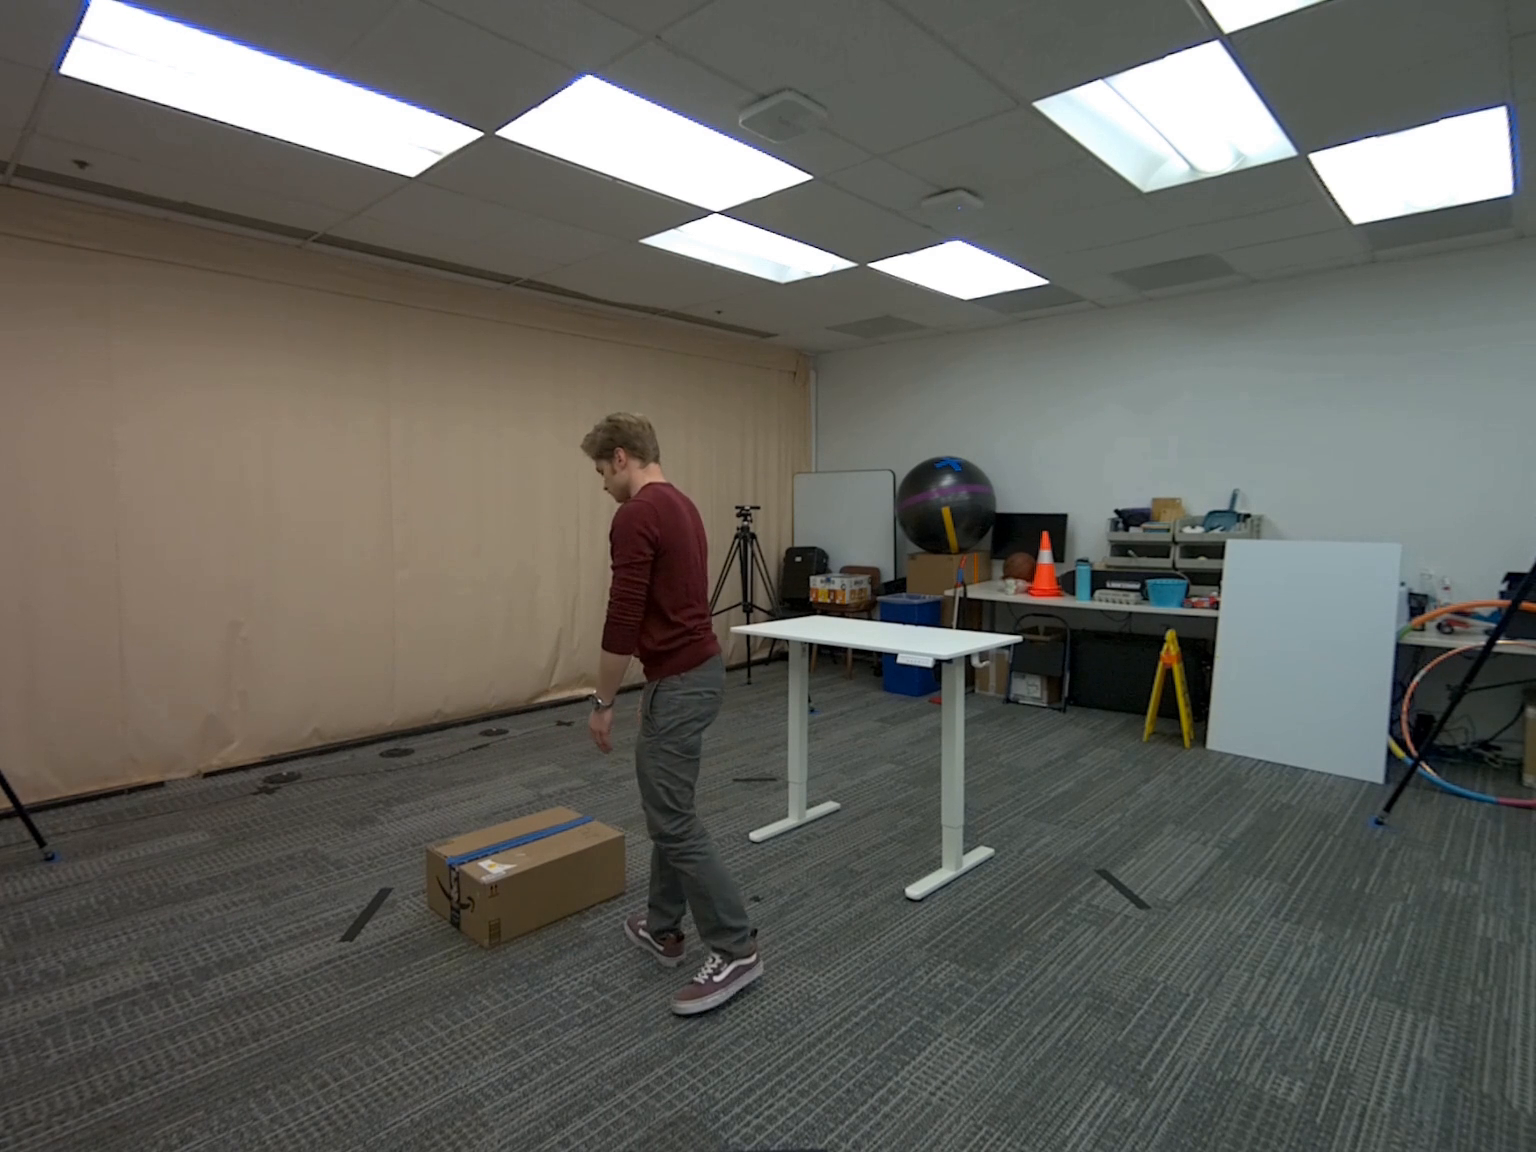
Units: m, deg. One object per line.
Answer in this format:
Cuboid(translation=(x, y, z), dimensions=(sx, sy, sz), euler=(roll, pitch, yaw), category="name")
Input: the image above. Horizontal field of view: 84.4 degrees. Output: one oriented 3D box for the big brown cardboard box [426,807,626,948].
Cuboid(translation=(-0.858, 1.044, 2.979), dimensions=(0.431, 0.233, 0.571), euler=(3, 5, 43), category="big brown cardboard box")
